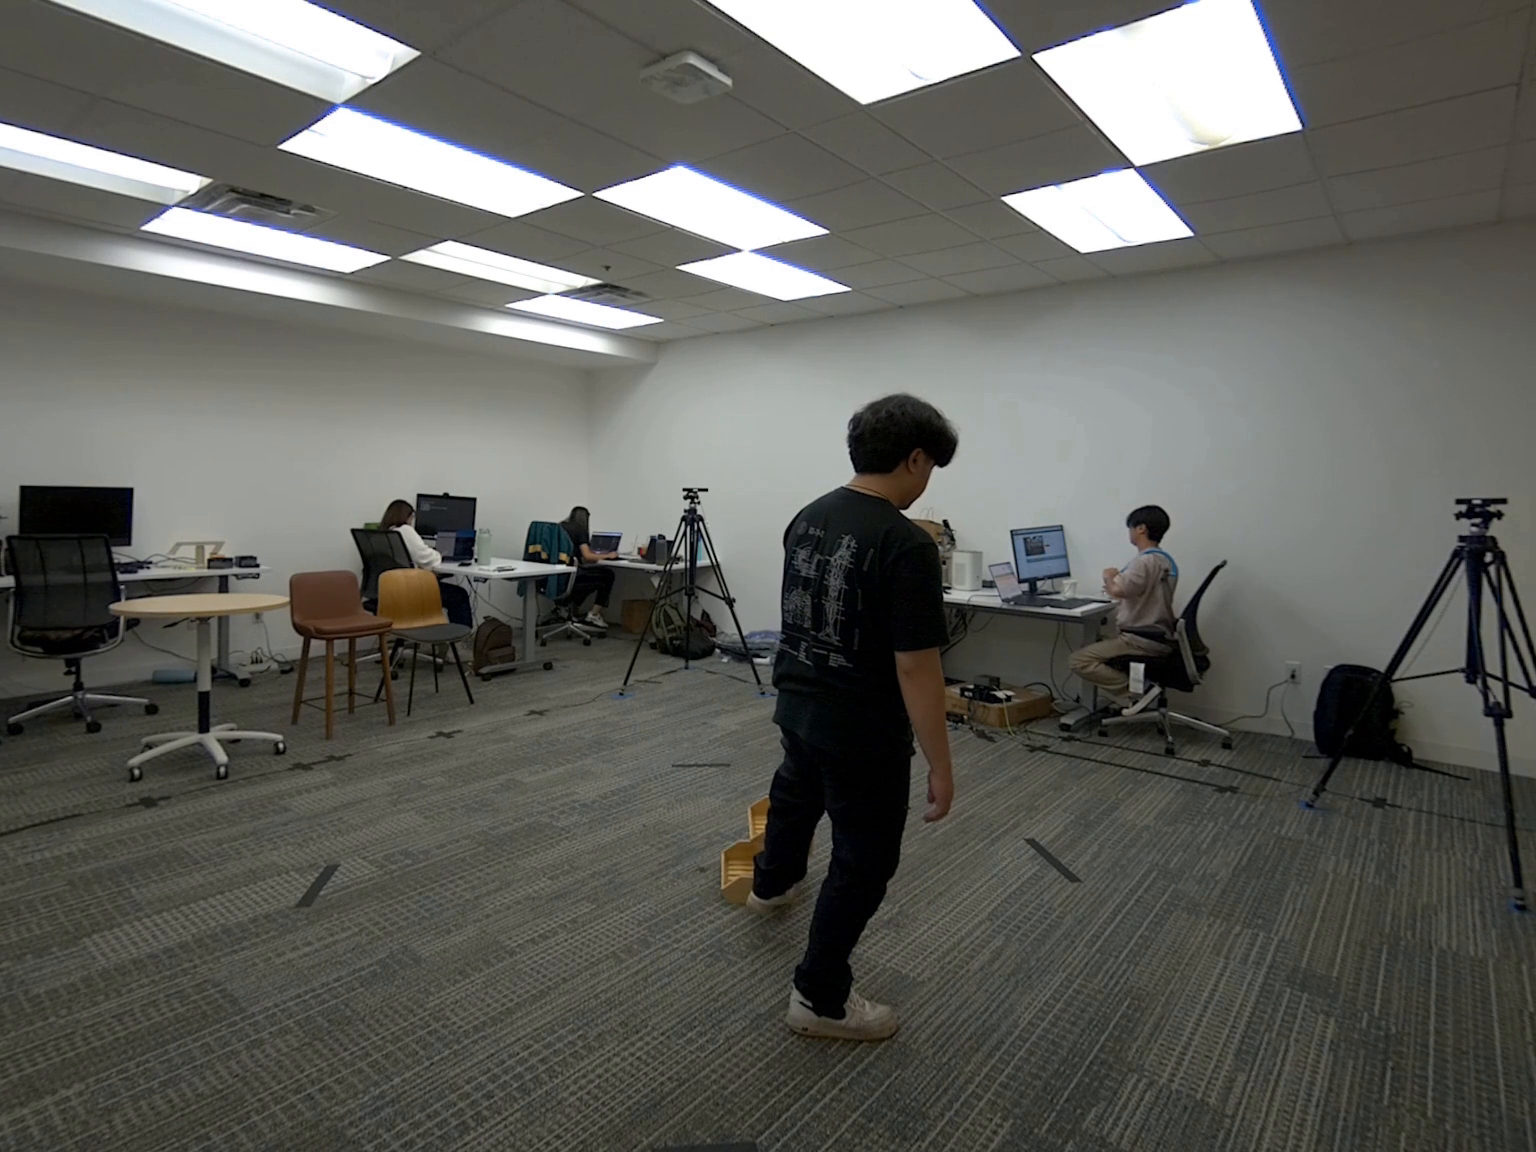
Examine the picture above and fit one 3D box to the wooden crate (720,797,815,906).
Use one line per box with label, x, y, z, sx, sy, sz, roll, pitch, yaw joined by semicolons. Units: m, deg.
wooden crate;-0.019;0.947;2.983;0.302;0.272;0.326;2;5;-2
